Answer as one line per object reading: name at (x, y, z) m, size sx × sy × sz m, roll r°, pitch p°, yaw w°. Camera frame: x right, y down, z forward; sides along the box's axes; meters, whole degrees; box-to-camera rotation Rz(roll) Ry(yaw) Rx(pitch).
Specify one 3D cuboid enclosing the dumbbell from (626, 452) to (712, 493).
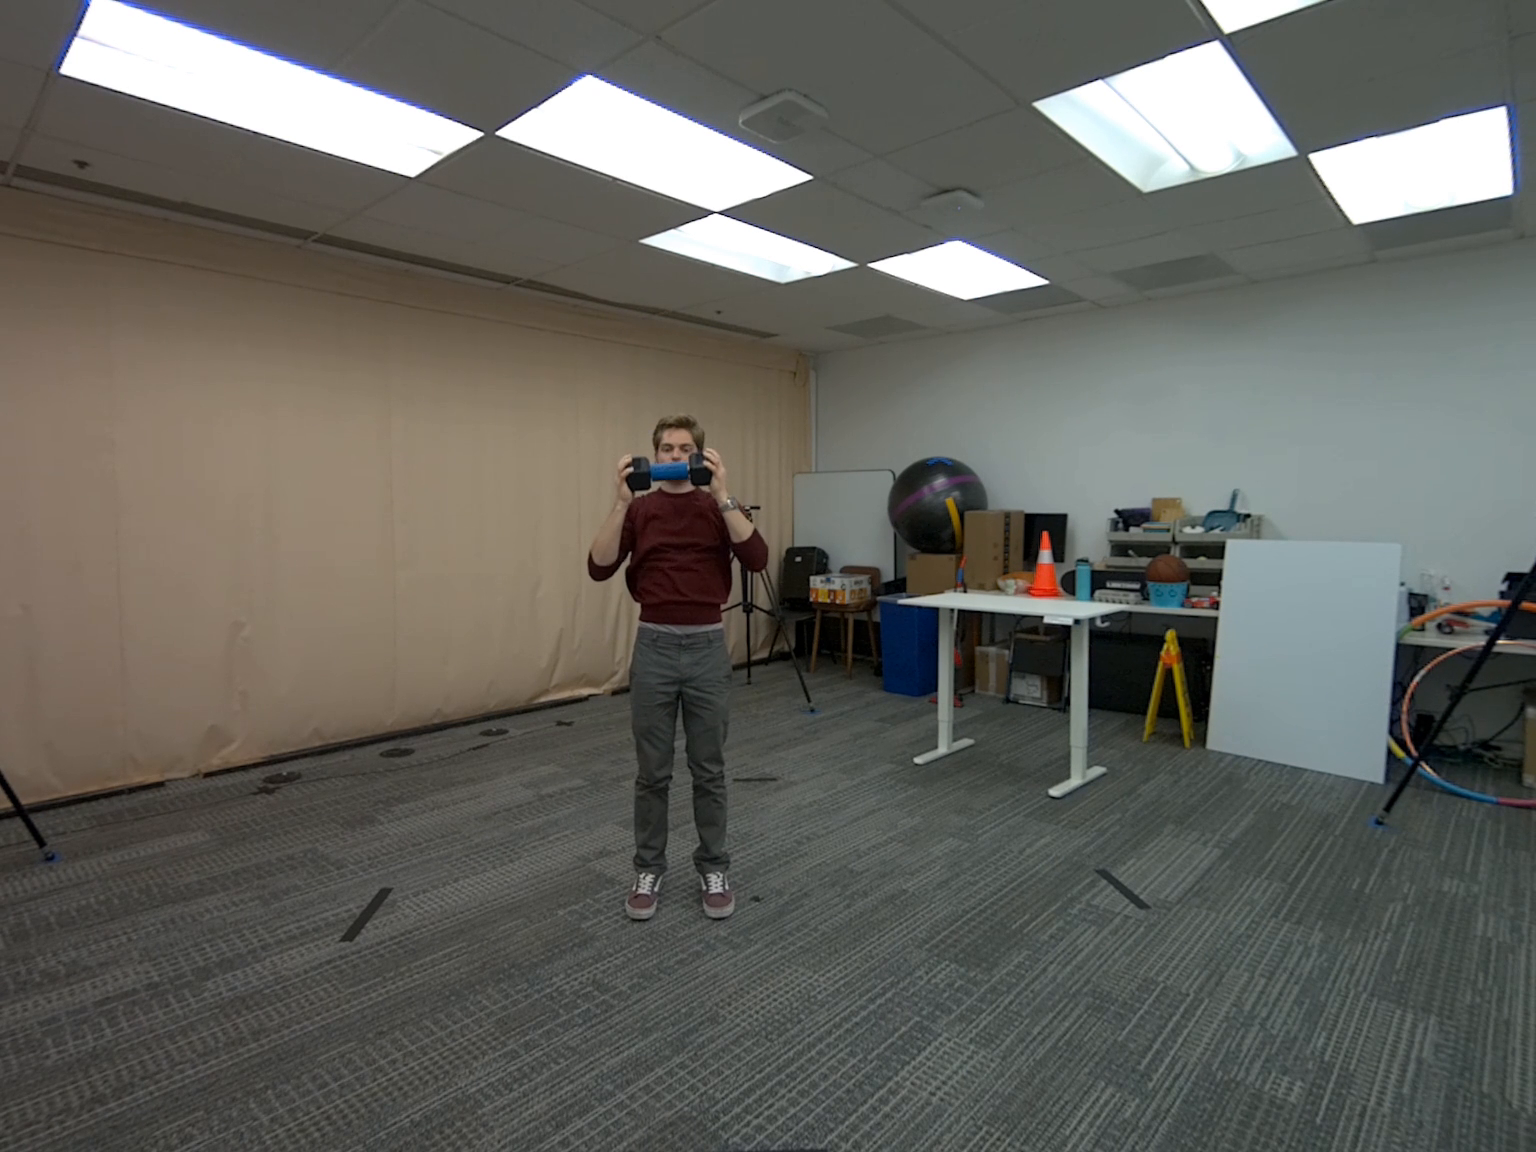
dumbbell at (-0.320, -0.353, 2.795) m, size 0.295 × 0.125 × 0.106 m, roll -4°, pitch -31°, yaw 3°
